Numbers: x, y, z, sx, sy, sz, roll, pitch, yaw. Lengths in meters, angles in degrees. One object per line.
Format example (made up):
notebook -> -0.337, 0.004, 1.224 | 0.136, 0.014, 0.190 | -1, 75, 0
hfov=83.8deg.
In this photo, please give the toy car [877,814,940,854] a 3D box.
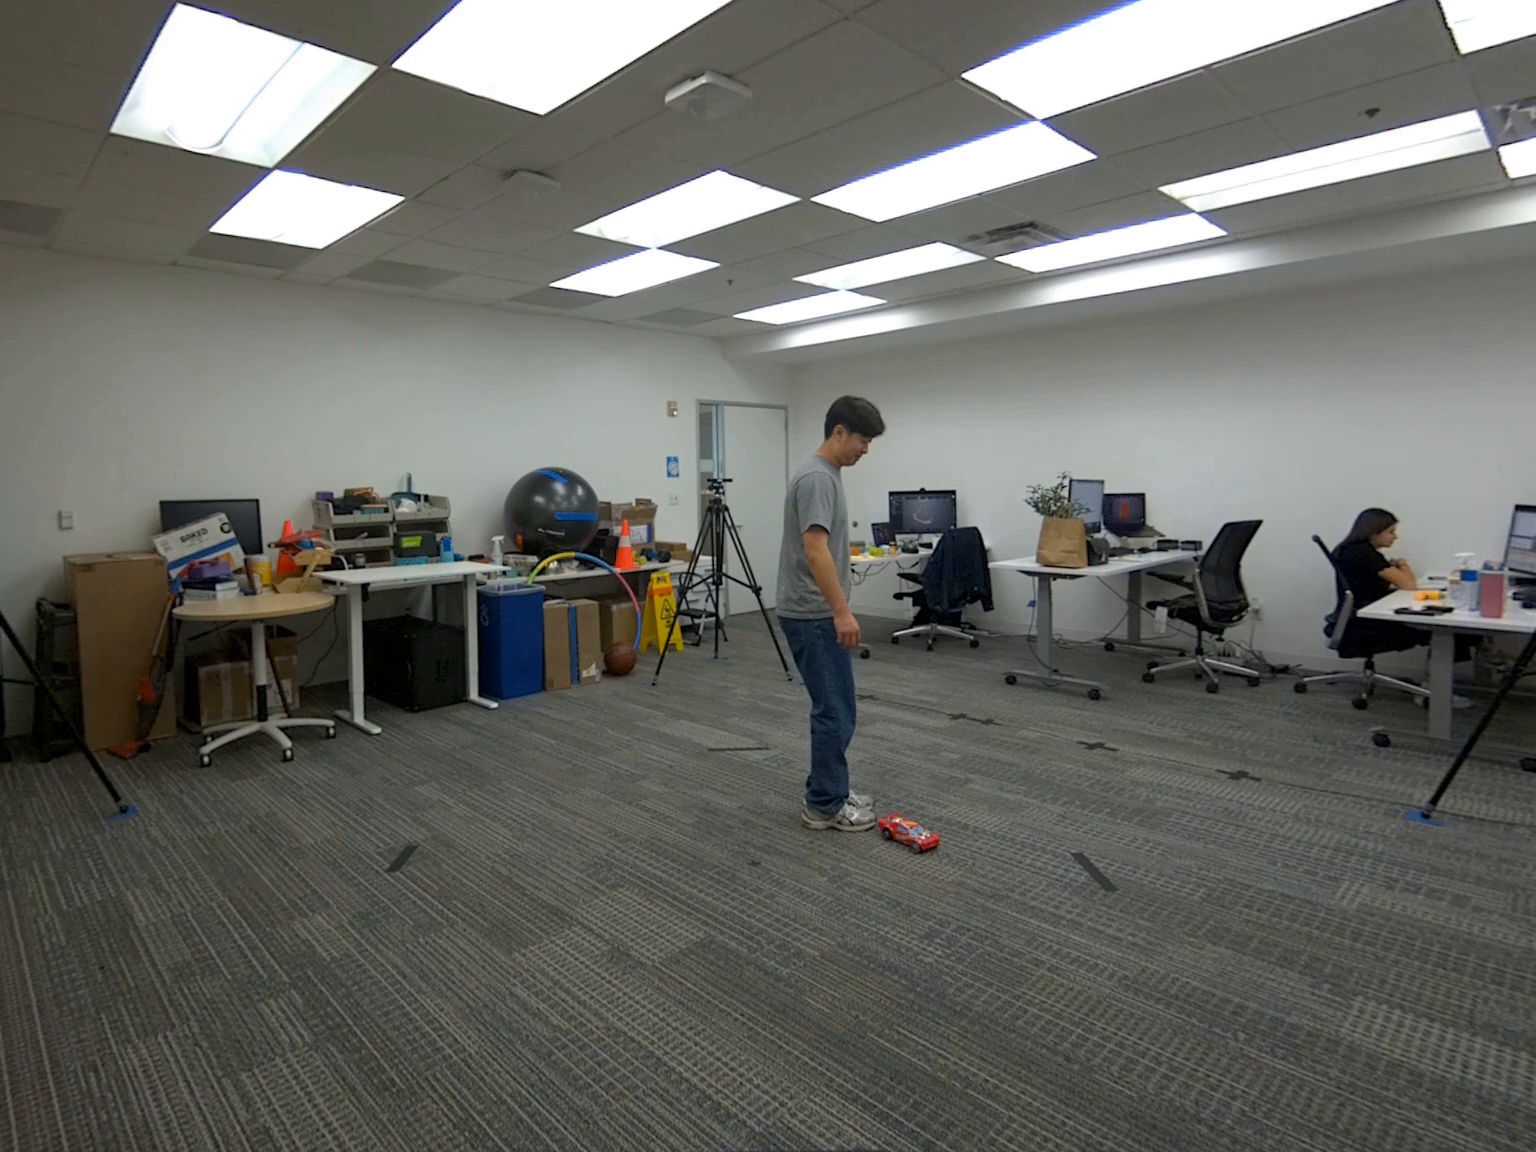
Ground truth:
toy car -> 0.538, 0.983, 3.274 | 0.127, 0.082, 0.264 | -5, 17, -36
